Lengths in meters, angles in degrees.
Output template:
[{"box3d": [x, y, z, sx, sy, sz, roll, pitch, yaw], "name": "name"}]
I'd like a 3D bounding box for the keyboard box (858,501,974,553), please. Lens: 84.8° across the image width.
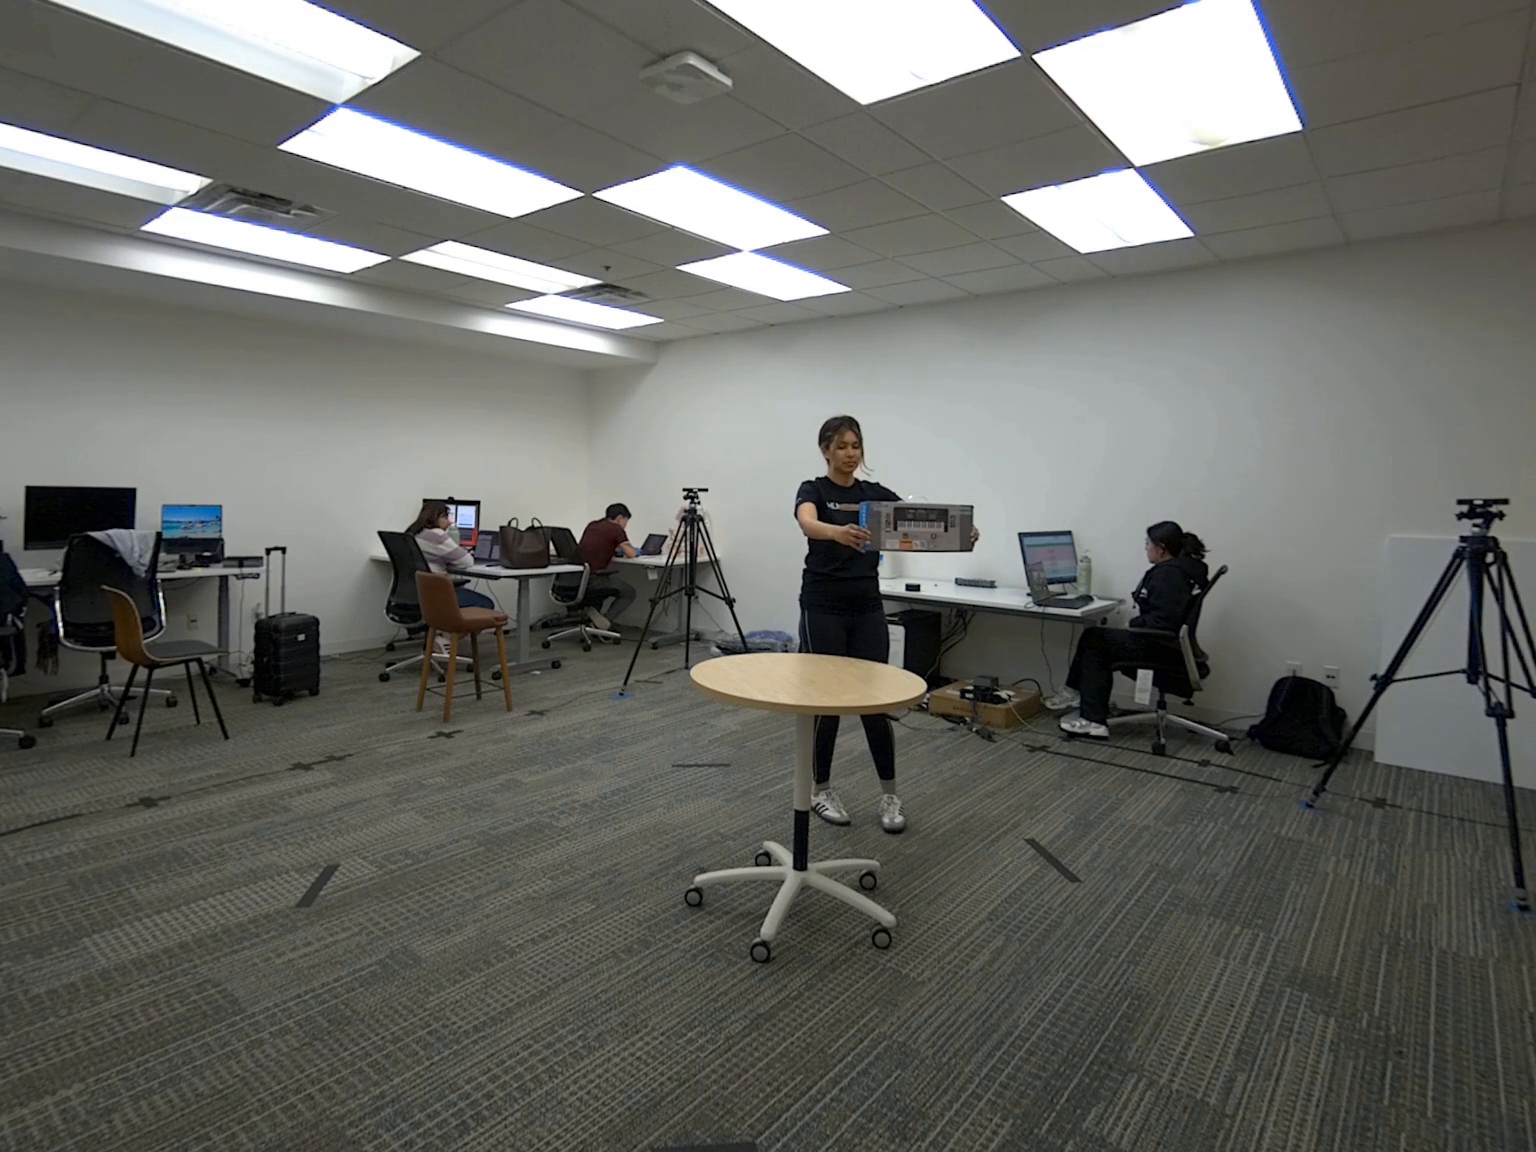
[{"box3d": [0.534, -0.181, 3.087, 0.428, 0.176, 0.060, 1, 0, -19], "name": "keyboard box"}]
